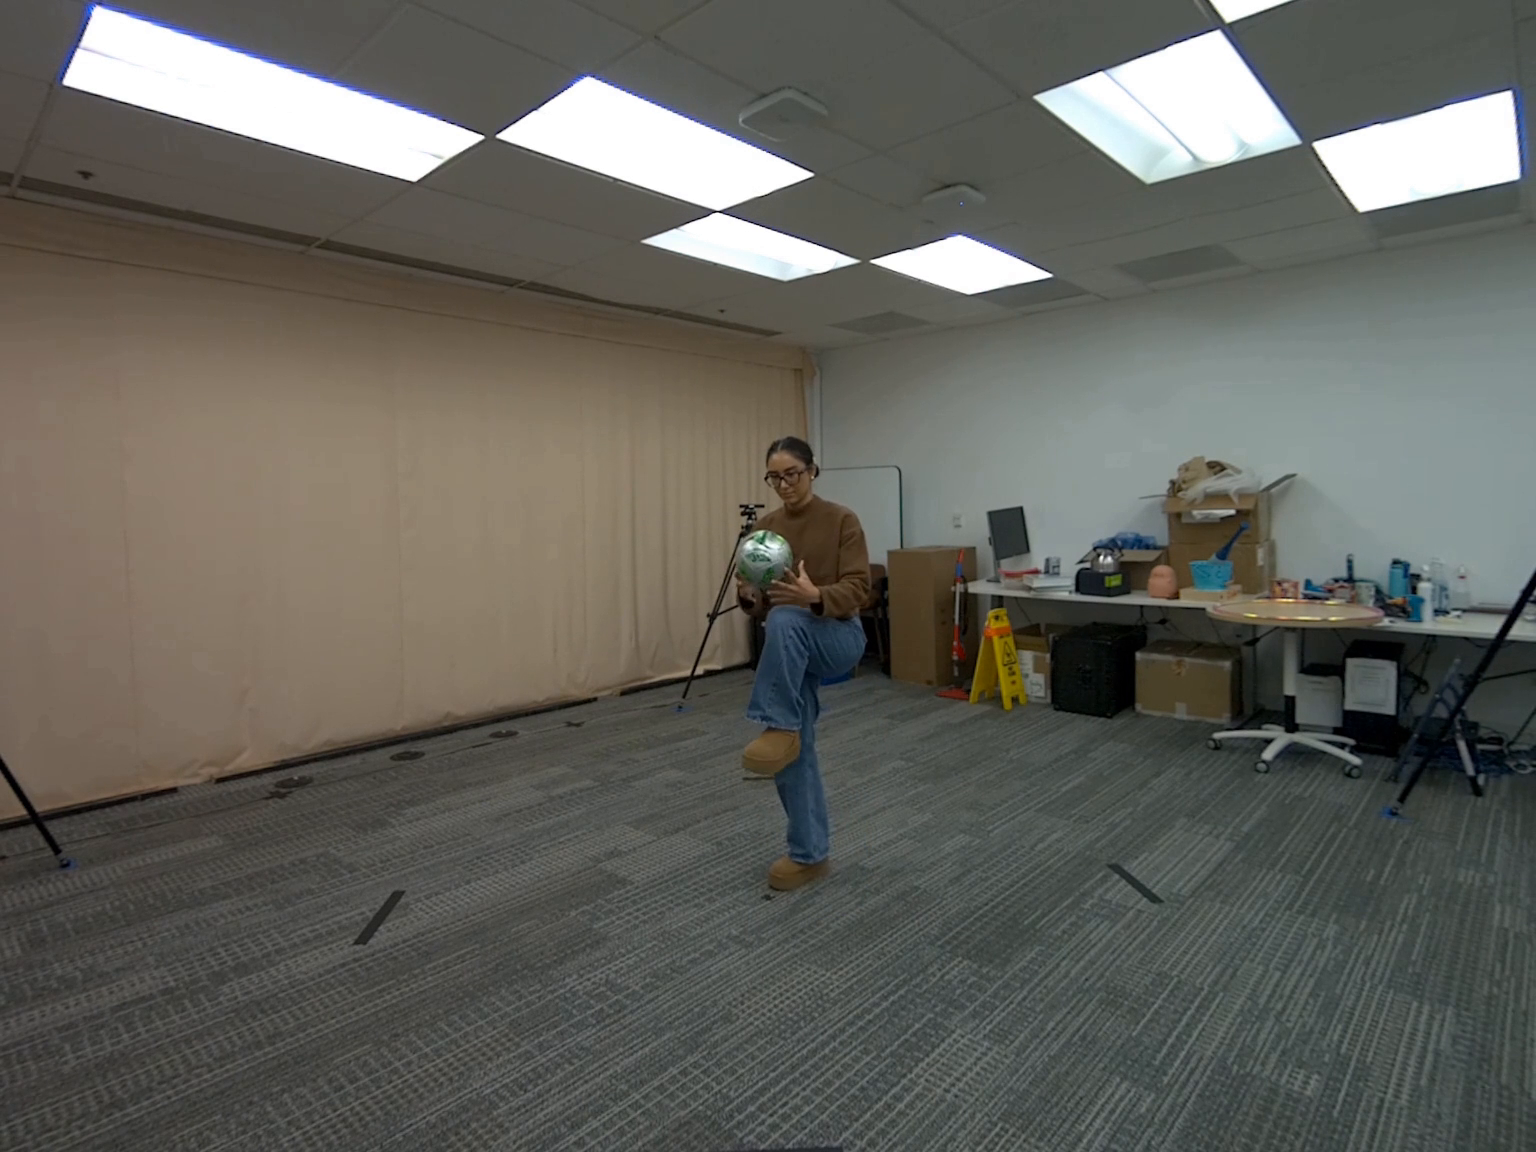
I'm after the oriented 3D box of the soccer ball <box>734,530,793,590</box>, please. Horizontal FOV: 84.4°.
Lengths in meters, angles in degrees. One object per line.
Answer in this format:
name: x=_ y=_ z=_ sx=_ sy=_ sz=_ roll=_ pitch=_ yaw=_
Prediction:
soccer ball: x=-0.013 y=-0.045 z=2.724 sx=0.187 sy=0.187 sz=0.188 roll=-1 pitch=4 yaw=-2
